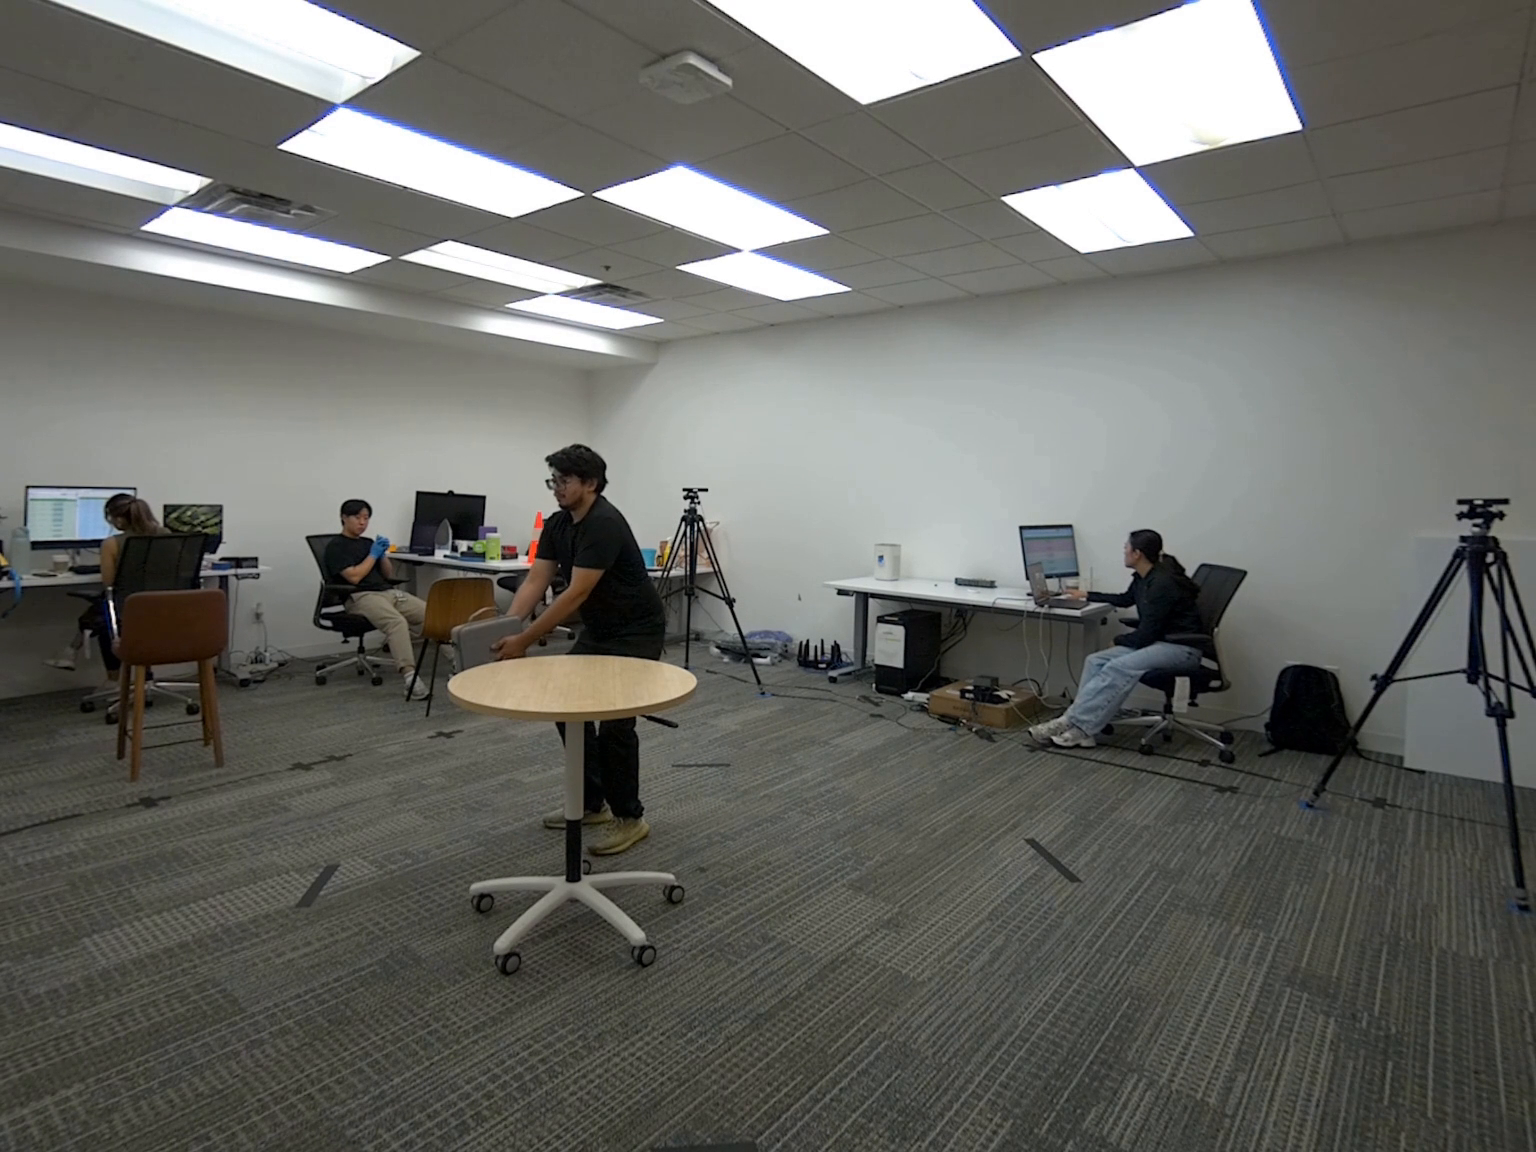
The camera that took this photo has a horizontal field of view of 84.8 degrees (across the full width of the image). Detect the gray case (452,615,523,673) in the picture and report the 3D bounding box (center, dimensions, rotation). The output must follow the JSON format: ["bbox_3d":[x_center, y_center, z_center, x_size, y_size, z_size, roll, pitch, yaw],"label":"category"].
[{"bbox_3d":[-1.040,0.285,3.114,0.107,0.259,0.250,-3,6,44],"label":"gray case"}]
